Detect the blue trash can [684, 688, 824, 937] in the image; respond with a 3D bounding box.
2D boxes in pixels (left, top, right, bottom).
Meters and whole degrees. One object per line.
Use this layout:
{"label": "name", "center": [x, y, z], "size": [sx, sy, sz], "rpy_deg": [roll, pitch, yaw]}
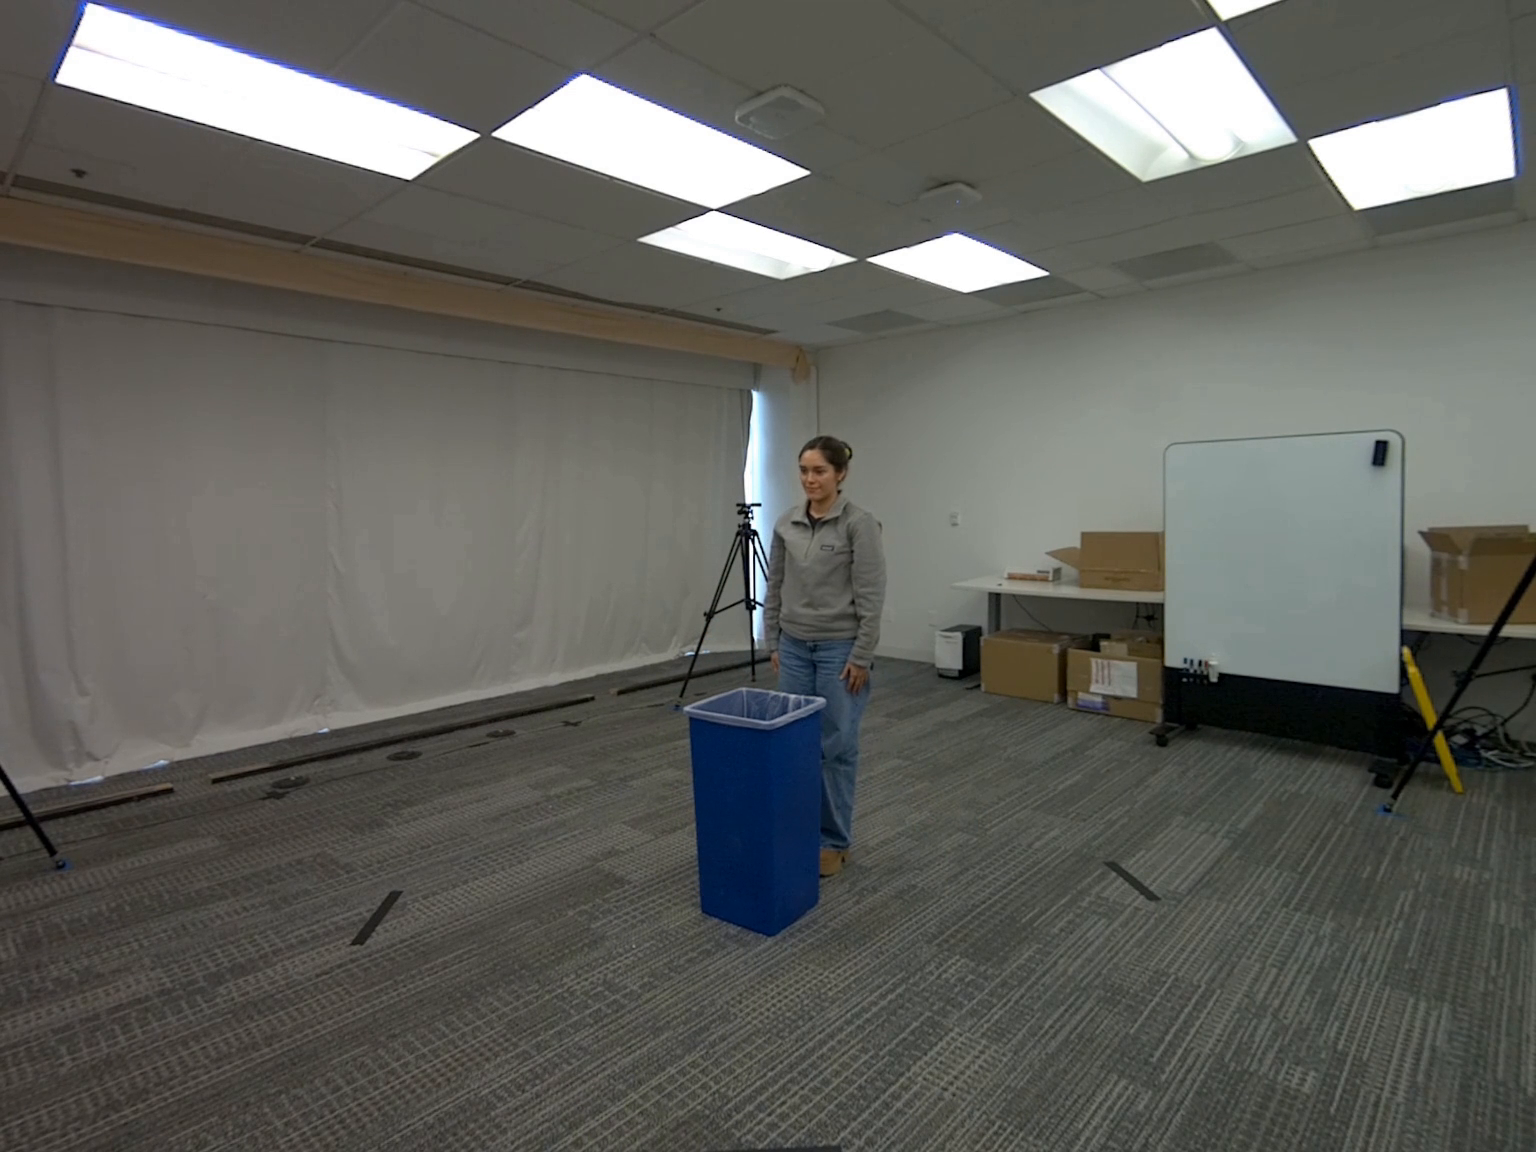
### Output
{"label": "blue trash can", "center": [-0.033, 0.788, 2.875], "size": [0.390, 0.712, 0.363], "rpy_deg": [1, 4, 35]}
